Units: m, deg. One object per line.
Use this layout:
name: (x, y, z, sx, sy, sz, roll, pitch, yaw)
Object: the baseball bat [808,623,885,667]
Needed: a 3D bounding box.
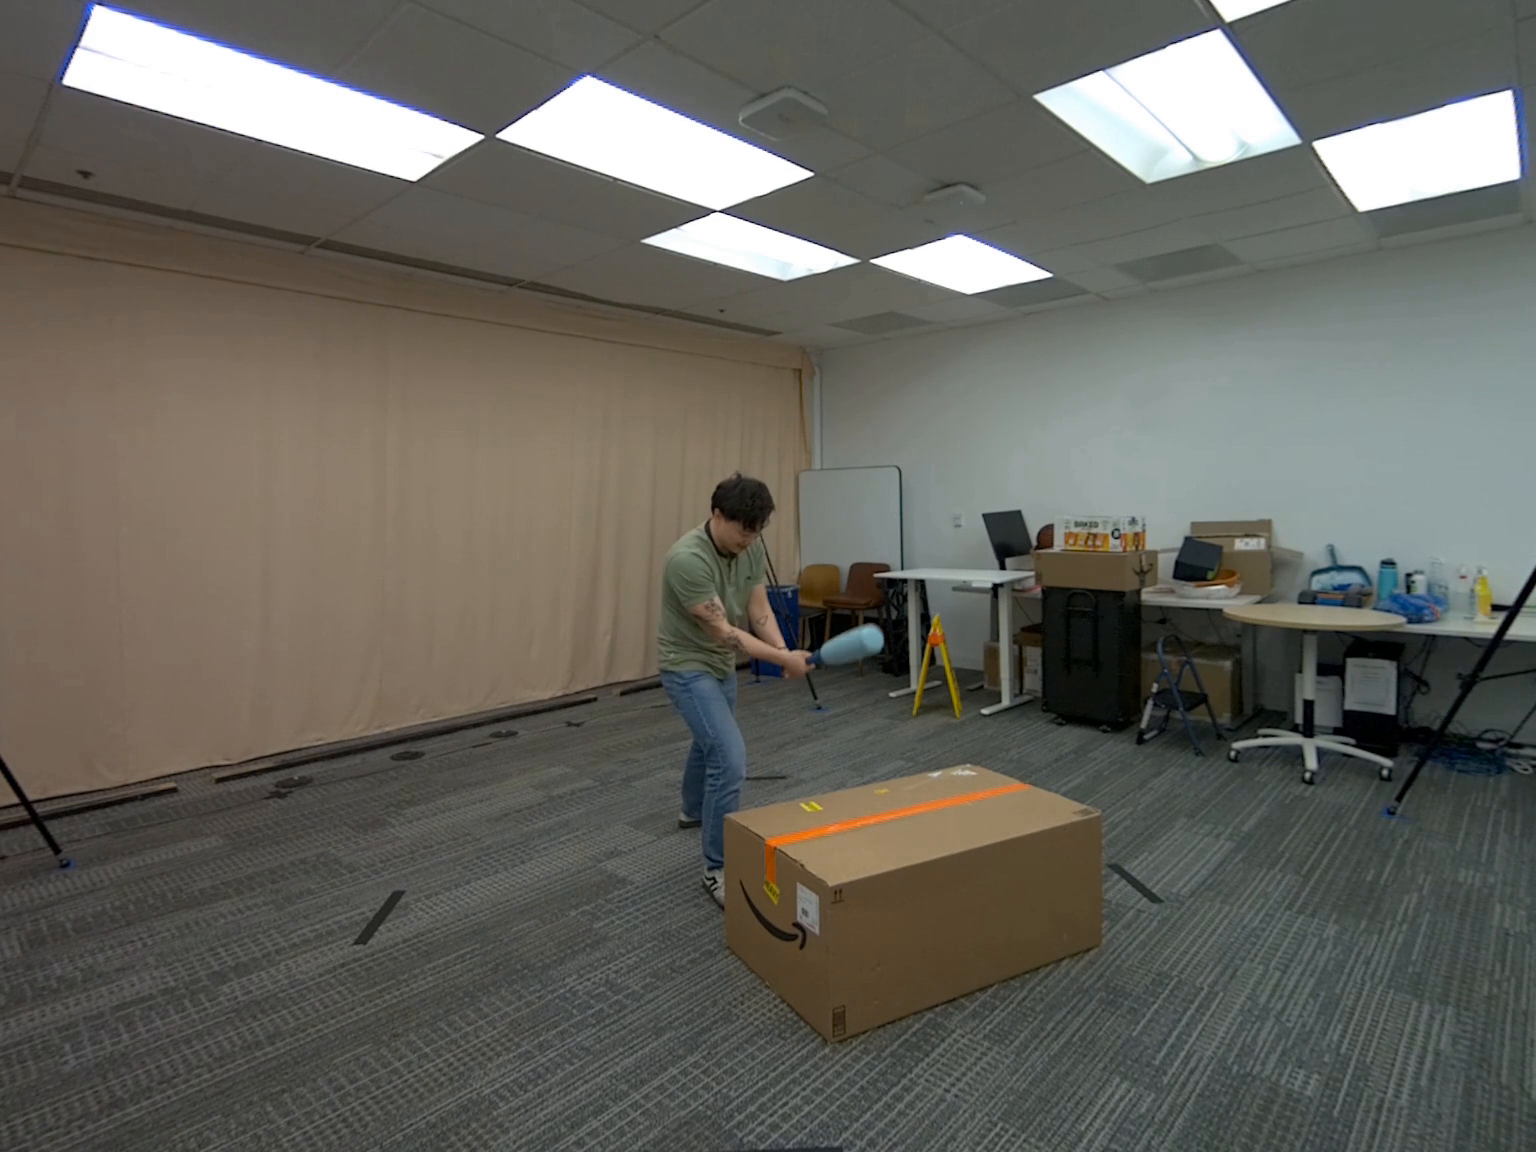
baseball bat: (0.184, 0.249, 2.824, 0.087, 0.090, 0.549, -2, -16, -25)
